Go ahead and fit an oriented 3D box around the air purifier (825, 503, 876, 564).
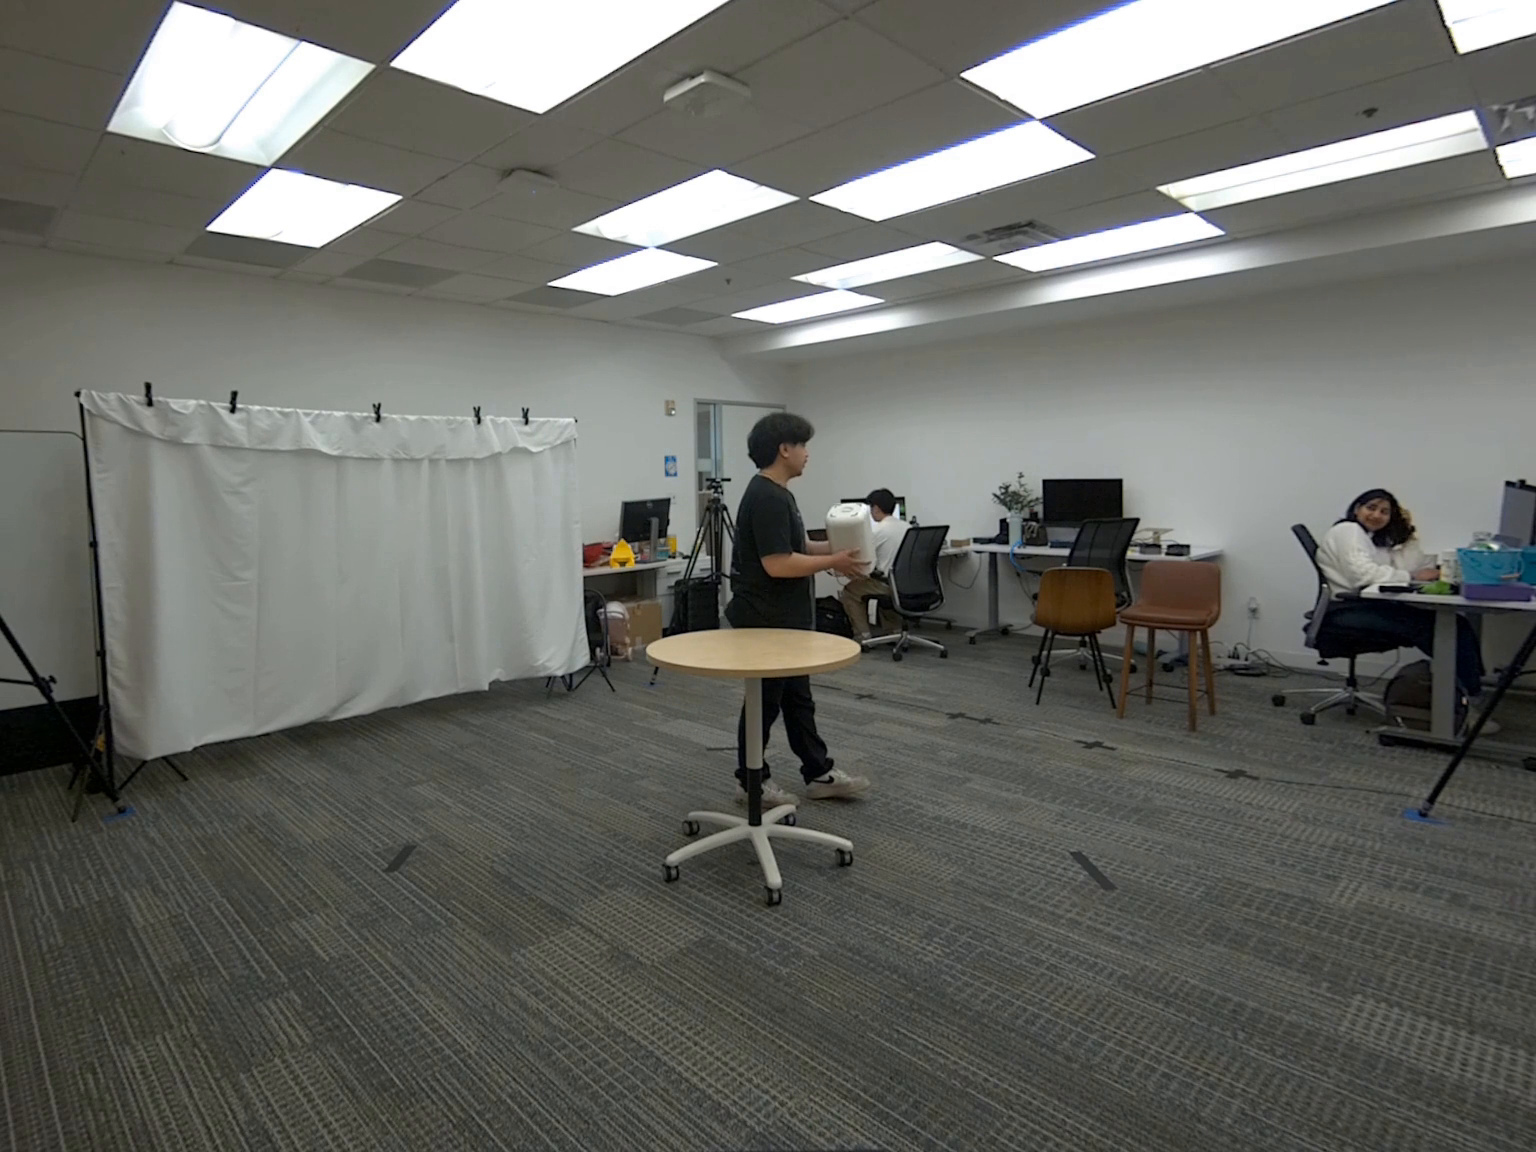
[{"bbox_3d":[0.342,-0.152,3.531,0.174,0.258,0.173,-4,29,19],"label":"air purifier"}]
